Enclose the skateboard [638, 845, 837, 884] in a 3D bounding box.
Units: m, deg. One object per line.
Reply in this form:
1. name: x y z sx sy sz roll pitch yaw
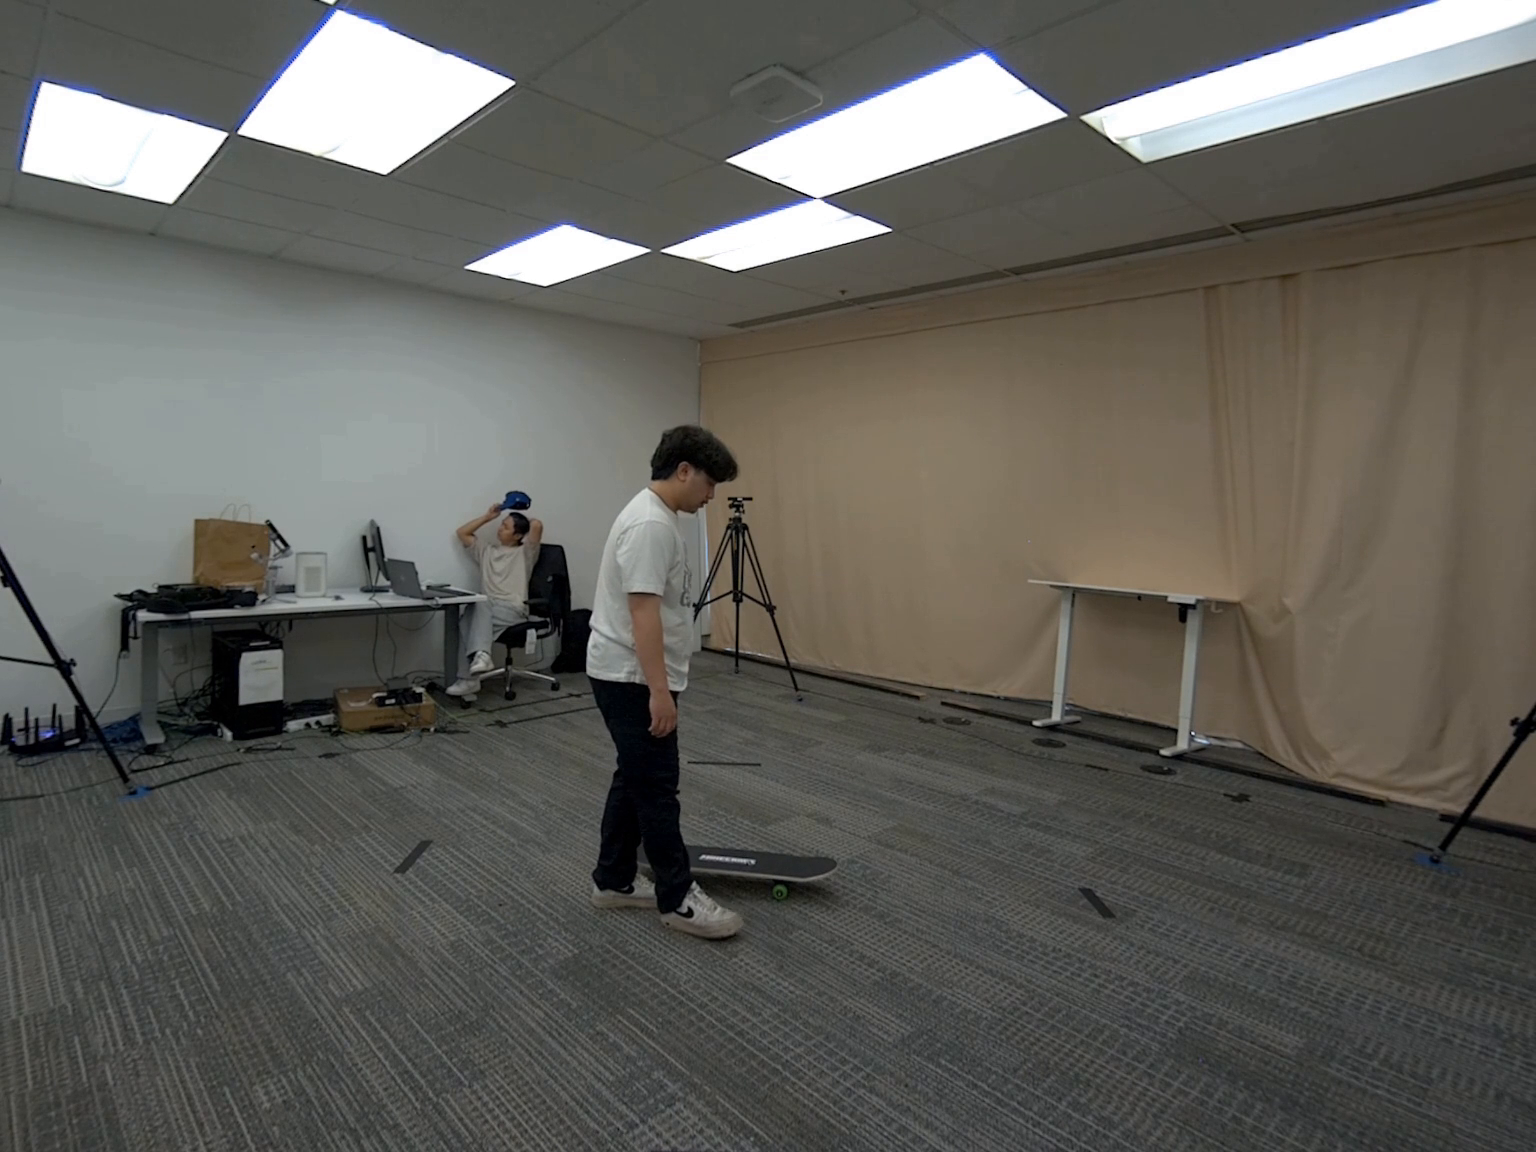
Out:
1. skateboard: -0.152 1.055 3.036 0.792 0.110 0.192 2 4 10
